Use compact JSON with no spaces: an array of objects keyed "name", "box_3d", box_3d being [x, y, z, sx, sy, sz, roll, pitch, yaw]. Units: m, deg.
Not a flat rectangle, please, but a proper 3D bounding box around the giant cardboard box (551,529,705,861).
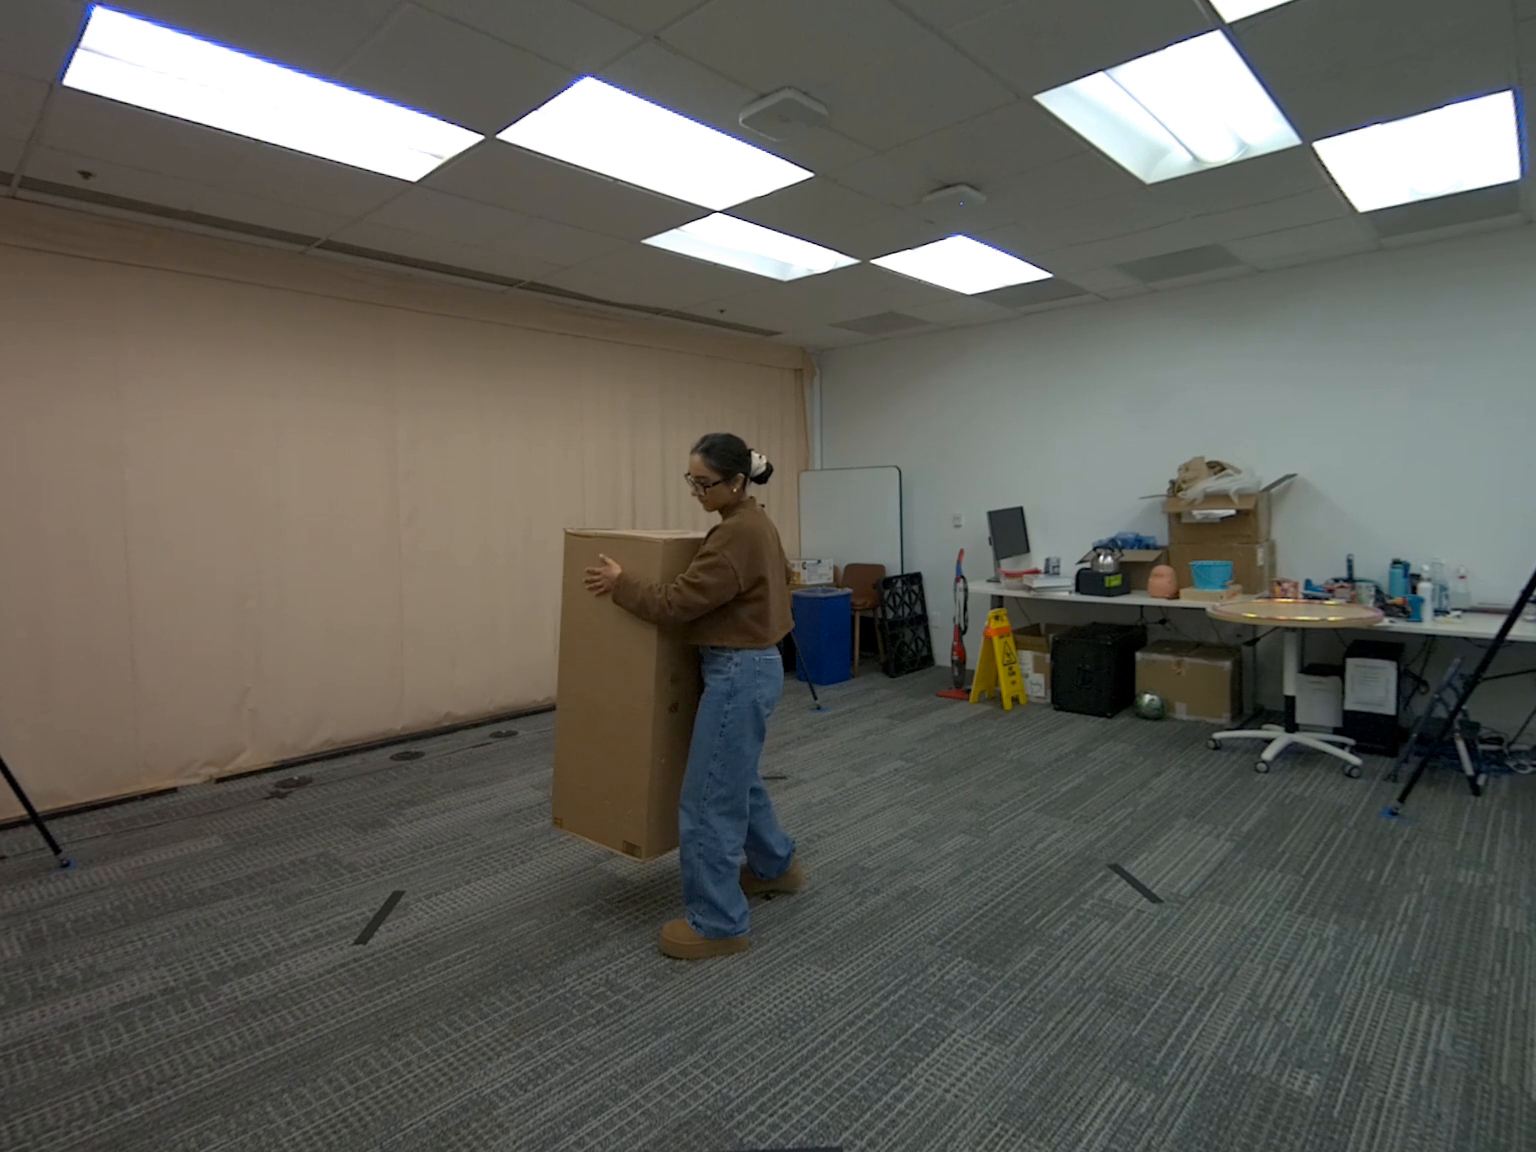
[{"name":"giant cardboard box","box_3d":[-0.392,0.360,2.967,0.440,1.024,0.560,6,4,34]}]
